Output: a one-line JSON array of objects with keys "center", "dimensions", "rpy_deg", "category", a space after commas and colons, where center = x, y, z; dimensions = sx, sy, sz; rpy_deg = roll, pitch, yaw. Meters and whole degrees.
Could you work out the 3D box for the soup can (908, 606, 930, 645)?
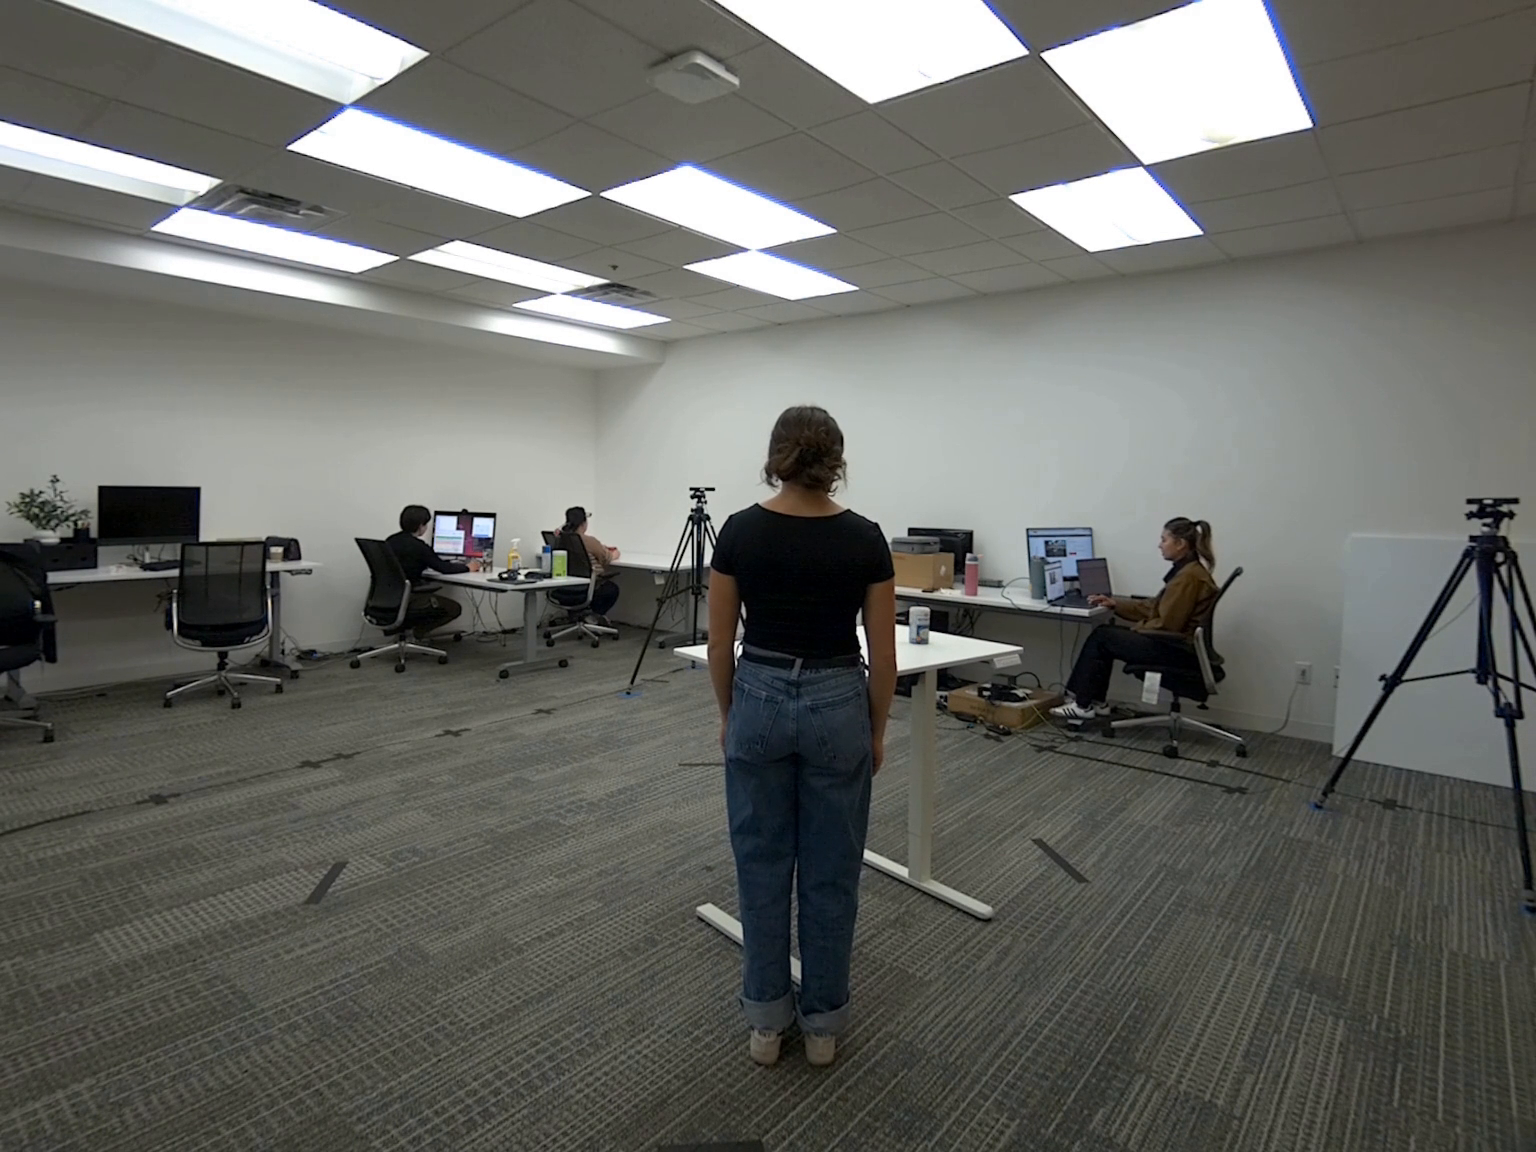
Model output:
[{"center": [0.508, 0.164, 2.871], "dimensions": [0.067, 0.121, 0.067], "rpy_deg": [-1, 4, -2], "category": "soup can"}]
